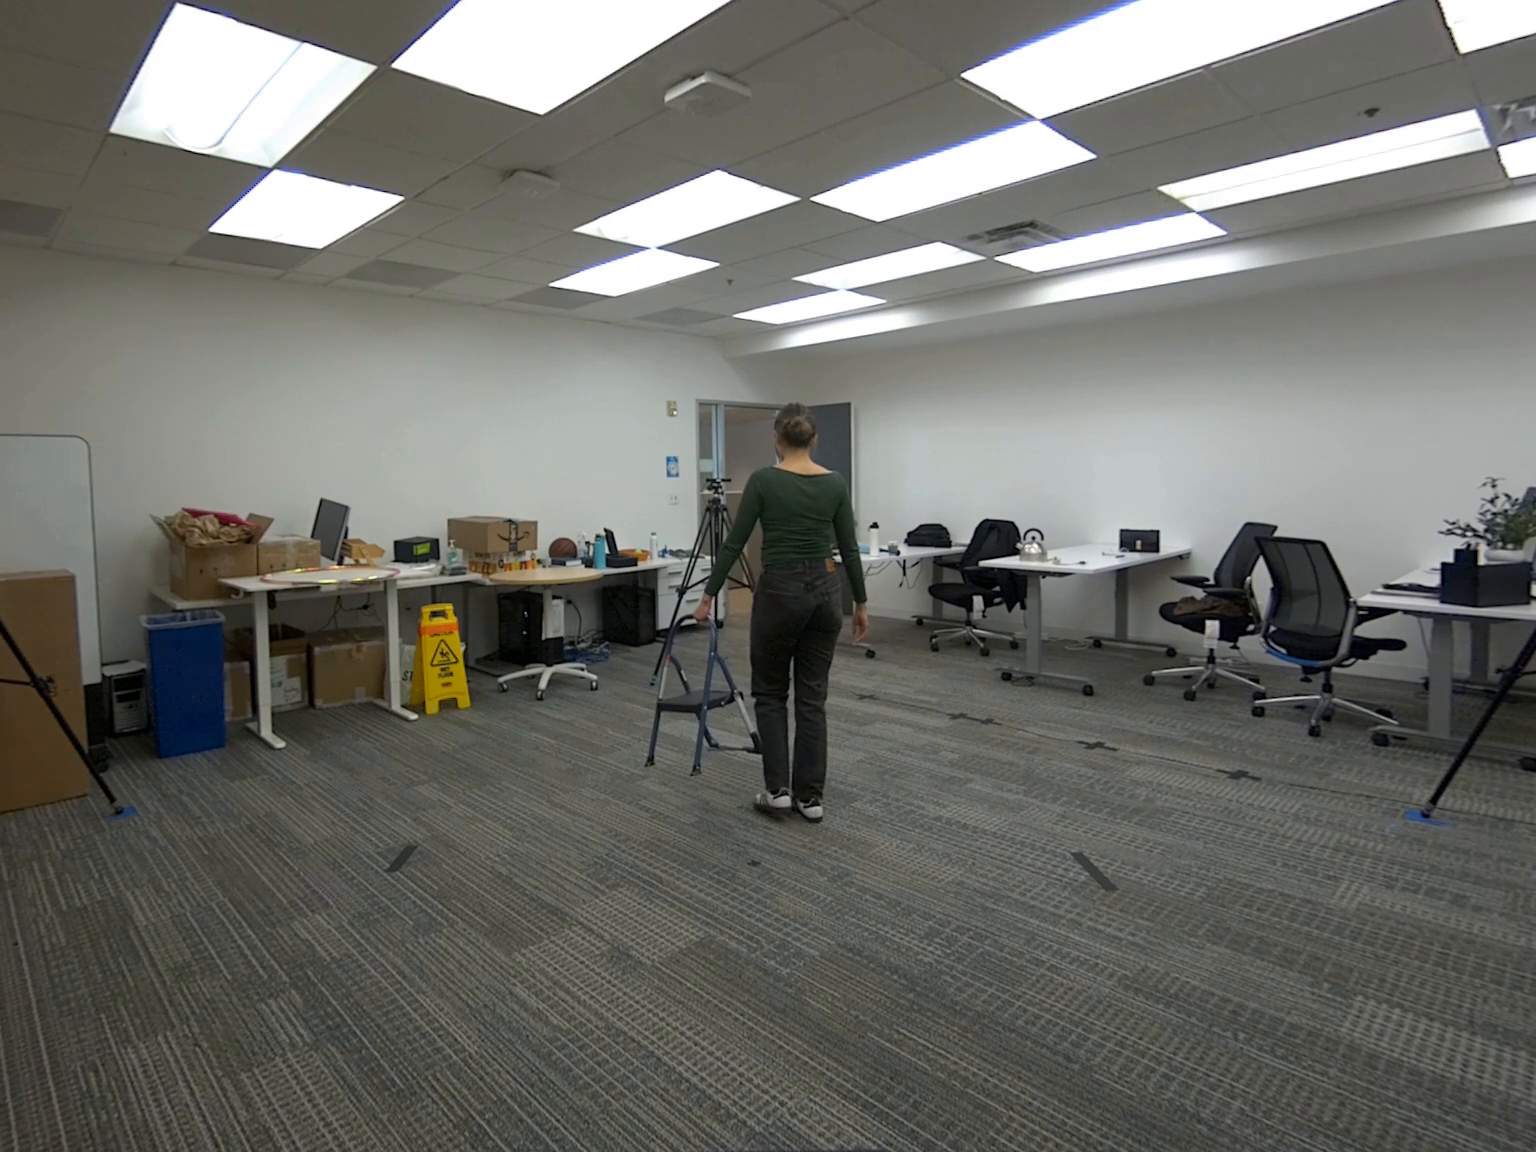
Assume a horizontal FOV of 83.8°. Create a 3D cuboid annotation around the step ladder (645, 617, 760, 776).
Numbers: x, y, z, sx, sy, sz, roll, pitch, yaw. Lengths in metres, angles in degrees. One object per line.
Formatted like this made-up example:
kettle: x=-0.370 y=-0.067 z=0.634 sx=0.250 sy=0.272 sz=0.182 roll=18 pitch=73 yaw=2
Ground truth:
step ladder: x=-0.322 y=0.476 z=3.589 sx=0.341 sy=0.608 sz=0.439 roll=-8 pitch=-3 yaw=-36
